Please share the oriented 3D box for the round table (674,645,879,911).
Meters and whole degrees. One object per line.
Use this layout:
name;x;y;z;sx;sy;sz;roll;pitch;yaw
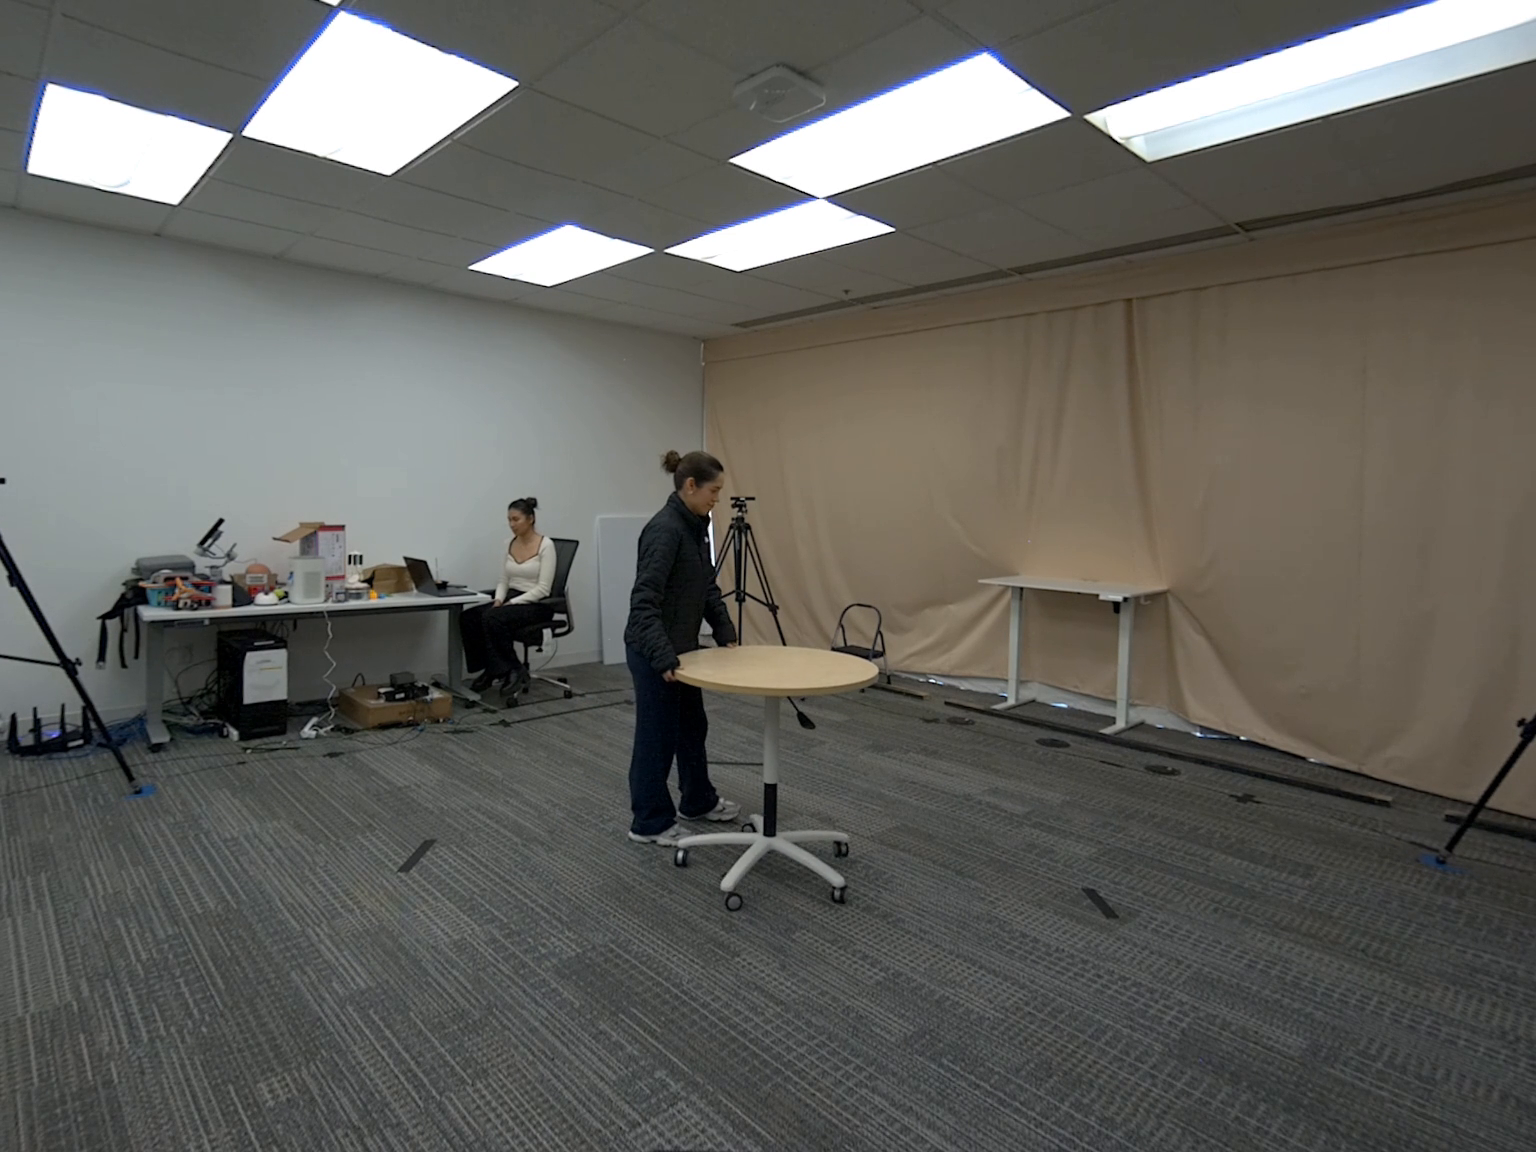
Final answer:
round table;-0.007;0.718;3.098;0.784;0.784;0.788;1;4;-1
